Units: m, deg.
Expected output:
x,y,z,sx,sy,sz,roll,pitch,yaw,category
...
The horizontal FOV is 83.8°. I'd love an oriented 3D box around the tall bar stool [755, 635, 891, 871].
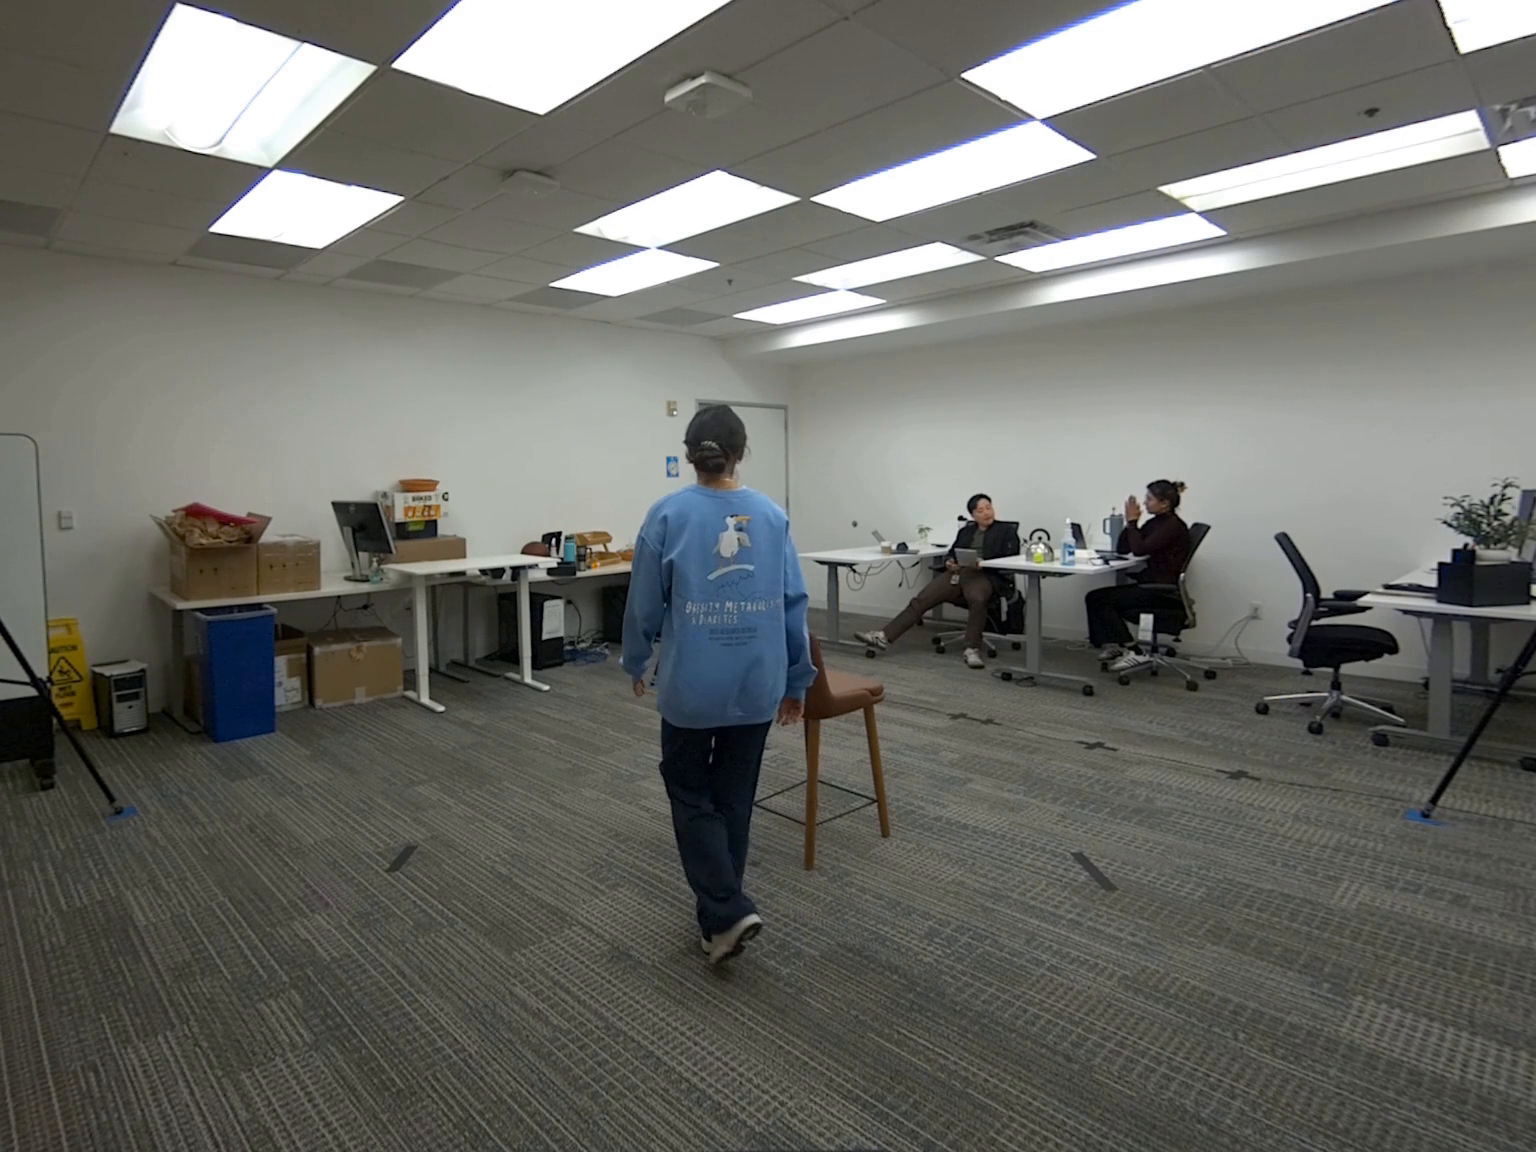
x,y,z,sx,sy,sz,roll,pitch,yaw,category
0.167,0.584,3.292,0.456,0.885,0.470,-7,7,-42,tall bar stool
